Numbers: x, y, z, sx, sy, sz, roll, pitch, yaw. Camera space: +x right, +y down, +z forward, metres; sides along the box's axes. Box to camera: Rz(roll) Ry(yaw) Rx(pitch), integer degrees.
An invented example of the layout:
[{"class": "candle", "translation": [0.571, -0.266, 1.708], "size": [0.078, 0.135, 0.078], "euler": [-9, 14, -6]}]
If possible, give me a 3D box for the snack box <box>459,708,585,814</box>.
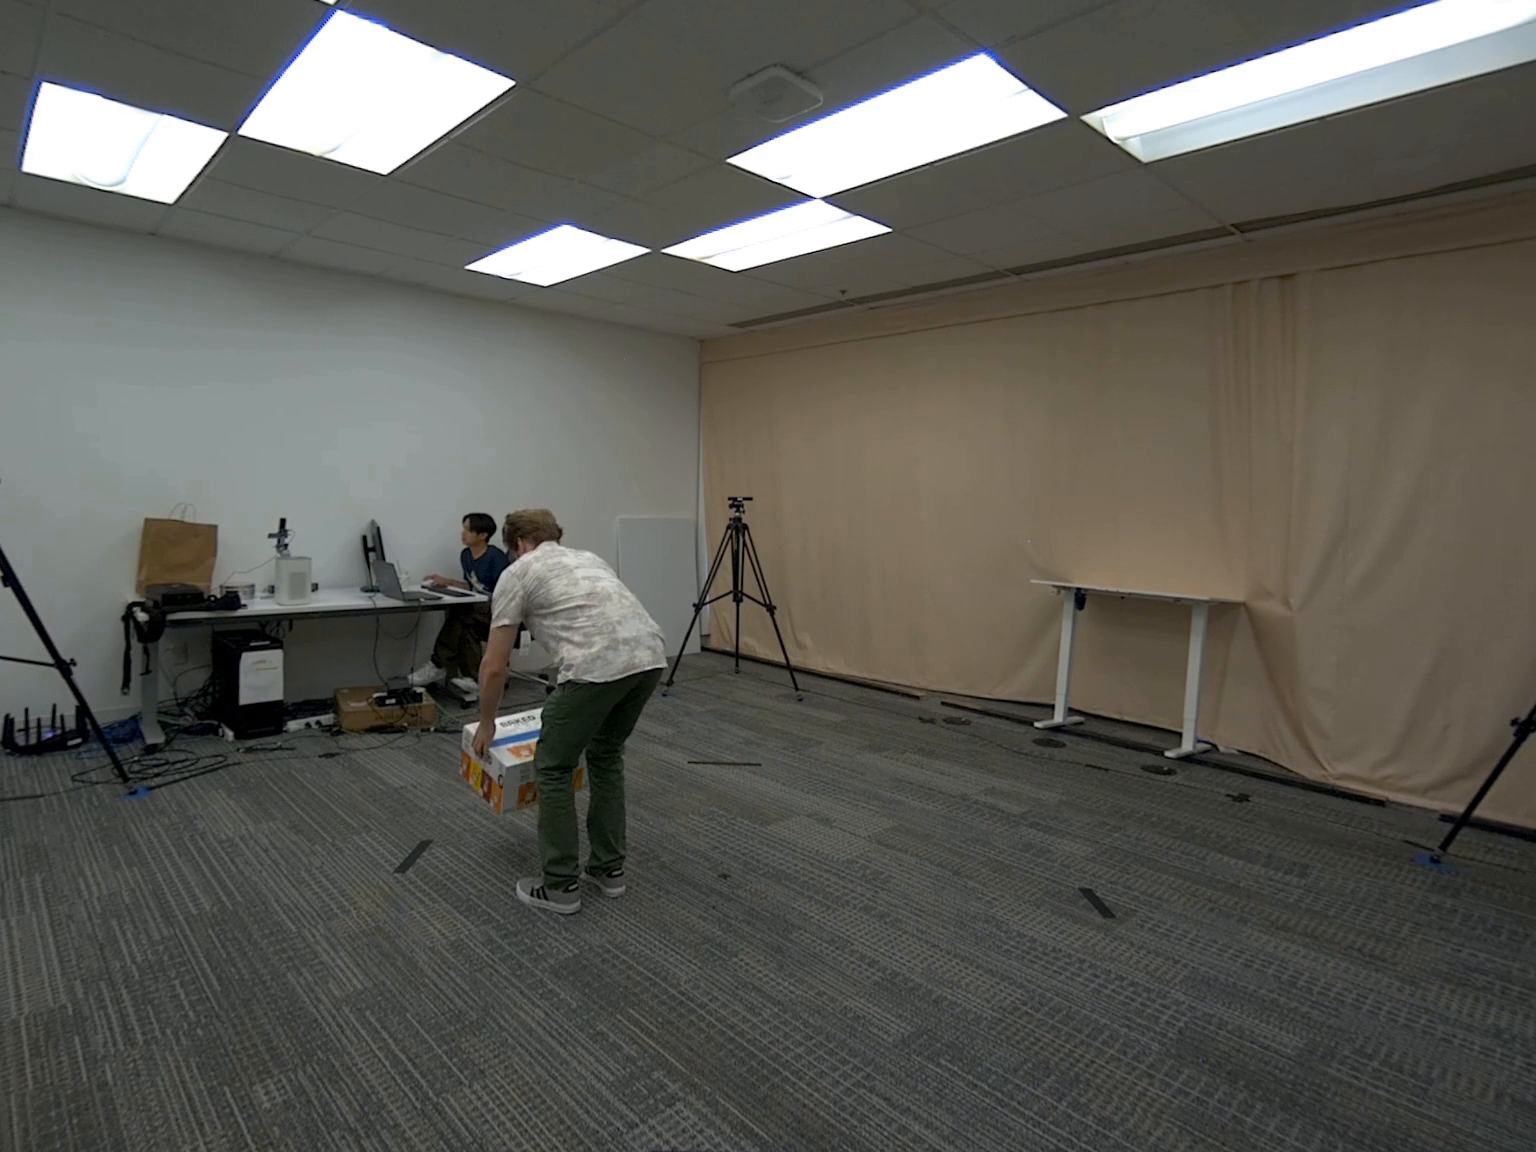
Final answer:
[{"class": "snack box", "translation": [-0.931, 0.698, 3.235], "size": [0.396, 0.204, 0.351], "euler": [-7, 22, -44]}]
